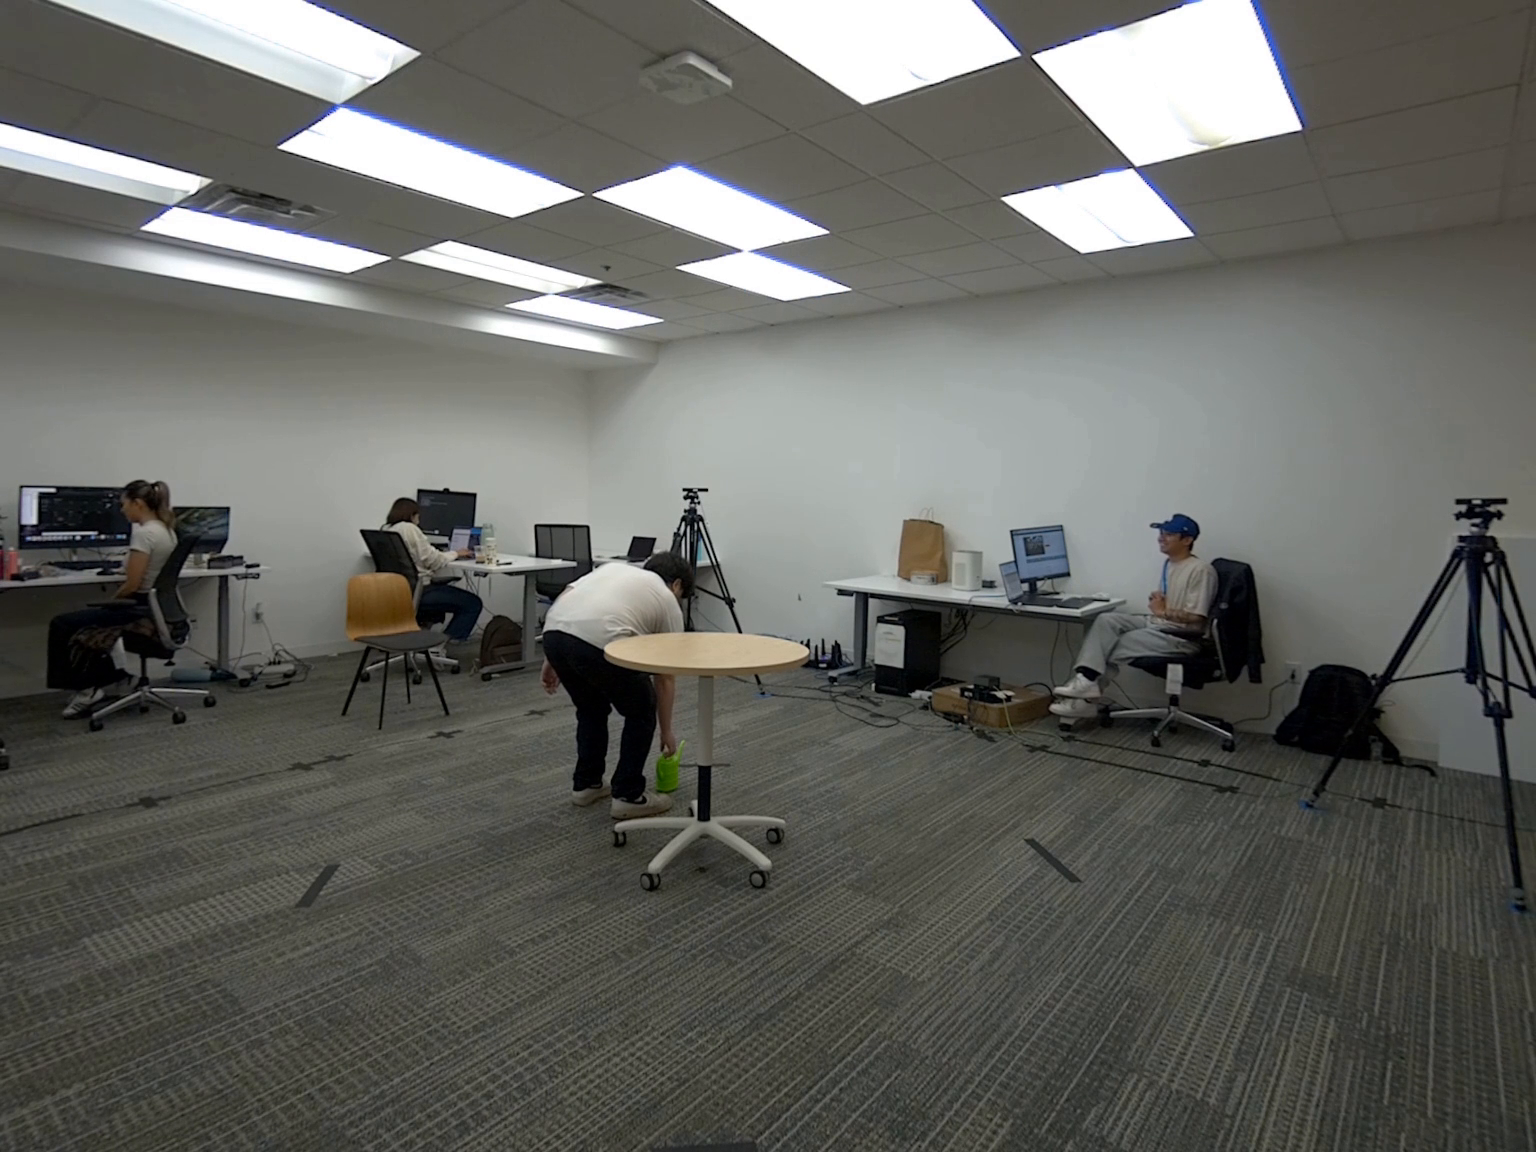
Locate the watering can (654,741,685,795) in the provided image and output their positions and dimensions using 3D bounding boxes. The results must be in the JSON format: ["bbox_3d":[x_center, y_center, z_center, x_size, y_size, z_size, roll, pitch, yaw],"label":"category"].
[{"bbox_3d":[-0.462,0.893,3.998,0.101,0.176,0.271,5,8,33],"label":"watering can"}]
